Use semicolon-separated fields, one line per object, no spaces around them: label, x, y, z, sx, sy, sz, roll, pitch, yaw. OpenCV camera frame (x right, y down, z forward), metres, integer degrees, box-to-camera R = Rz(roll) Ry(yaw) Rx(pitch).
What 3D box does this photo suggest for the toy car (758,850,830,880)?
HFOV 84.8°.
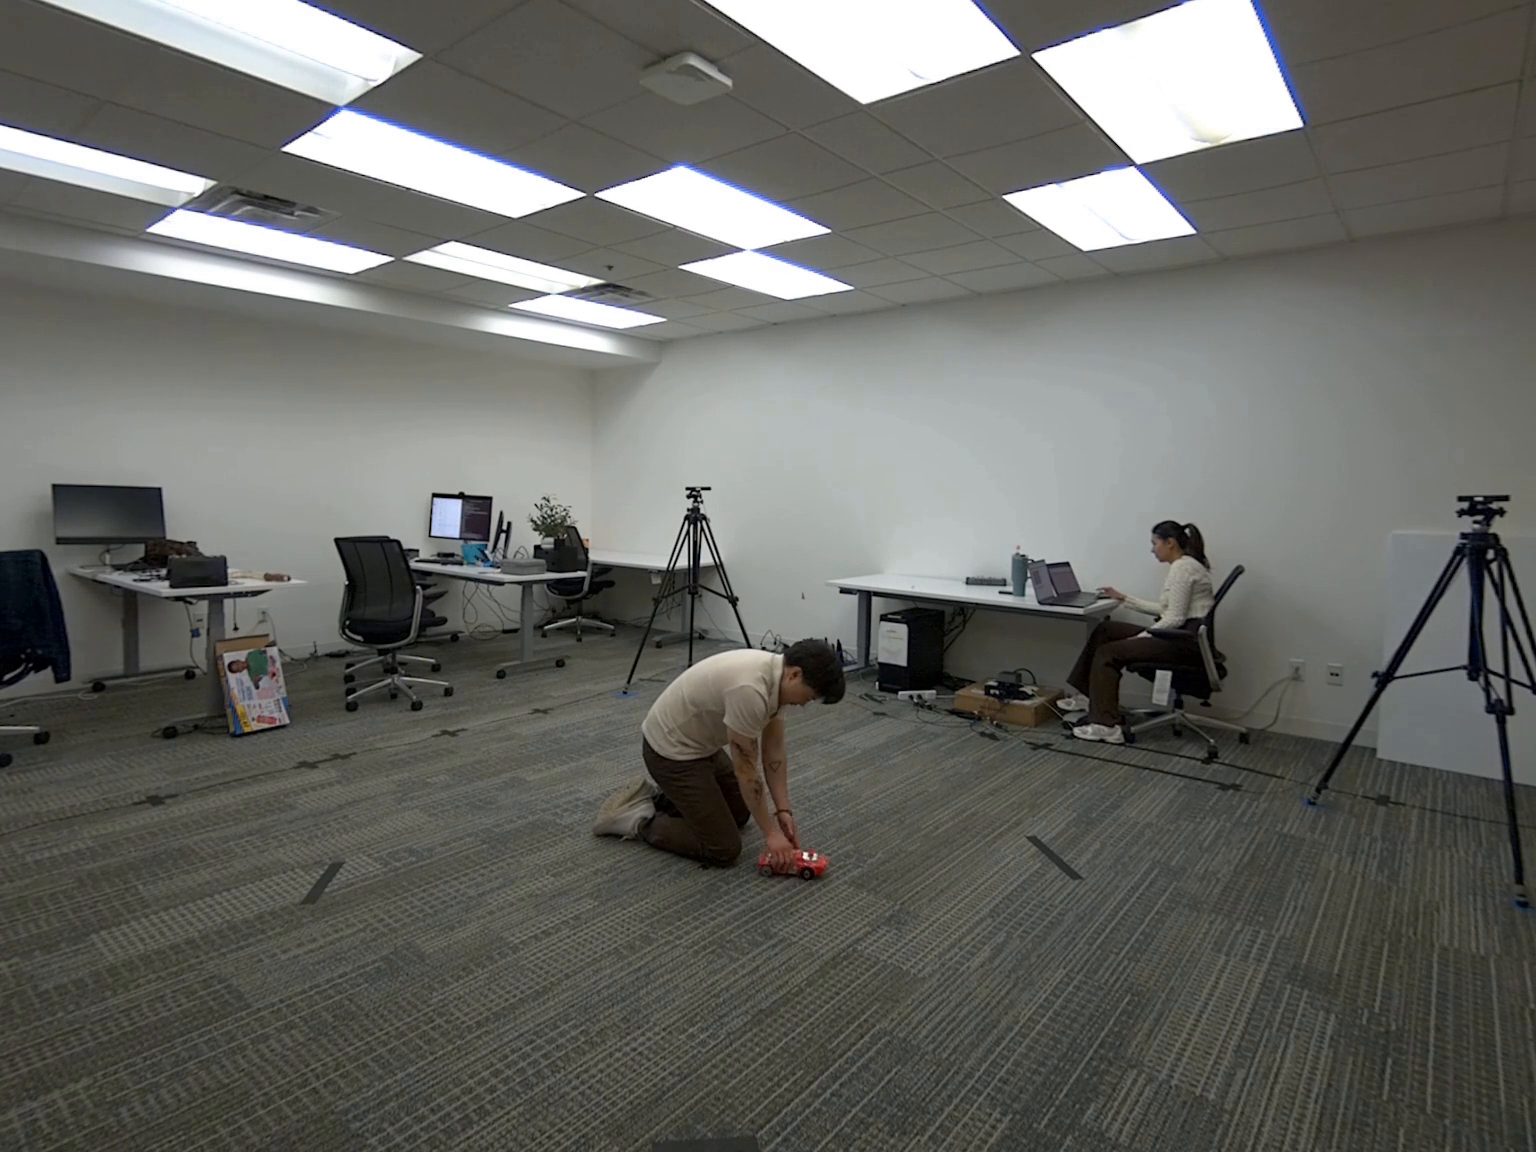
toy car;0.087;1.043;3.087;0.257;0.083;0.129;-11;2;10
